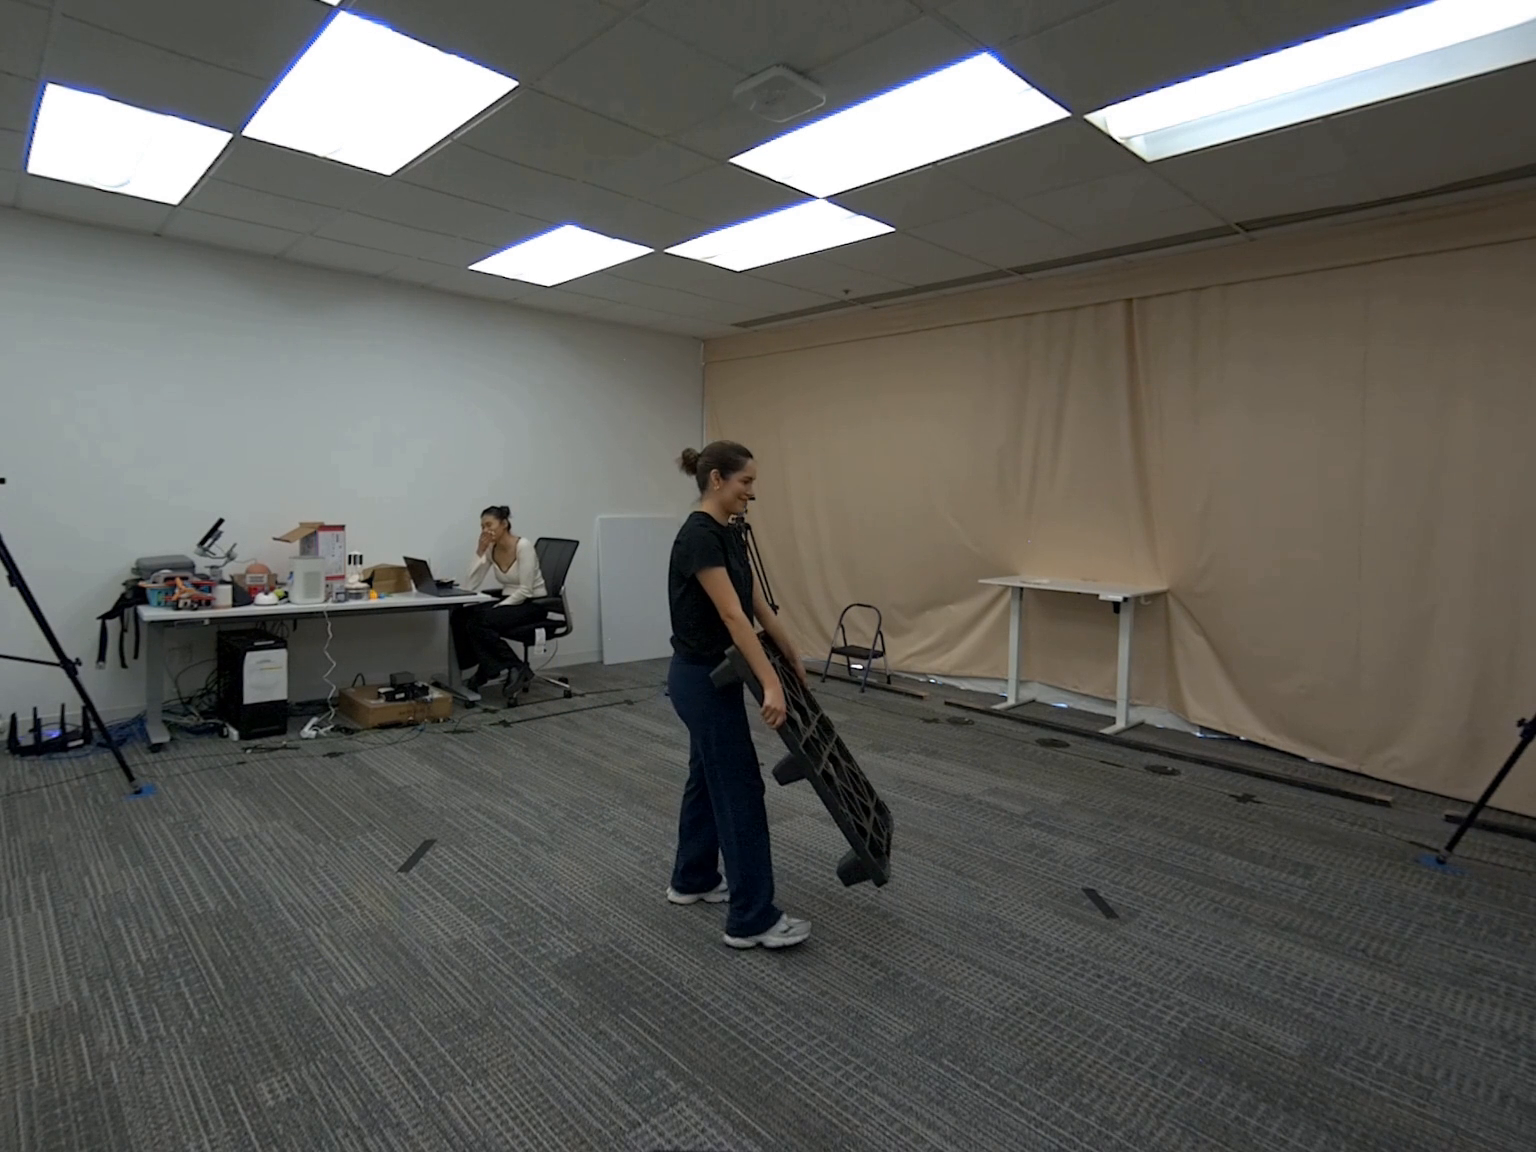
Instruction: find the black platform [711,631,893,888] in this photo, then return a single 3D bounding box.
[{"bbox_3d":[0.120,0.563,2.701,0.143,0.811,0.600,-33,-5,7],"label":"black platform"}]
